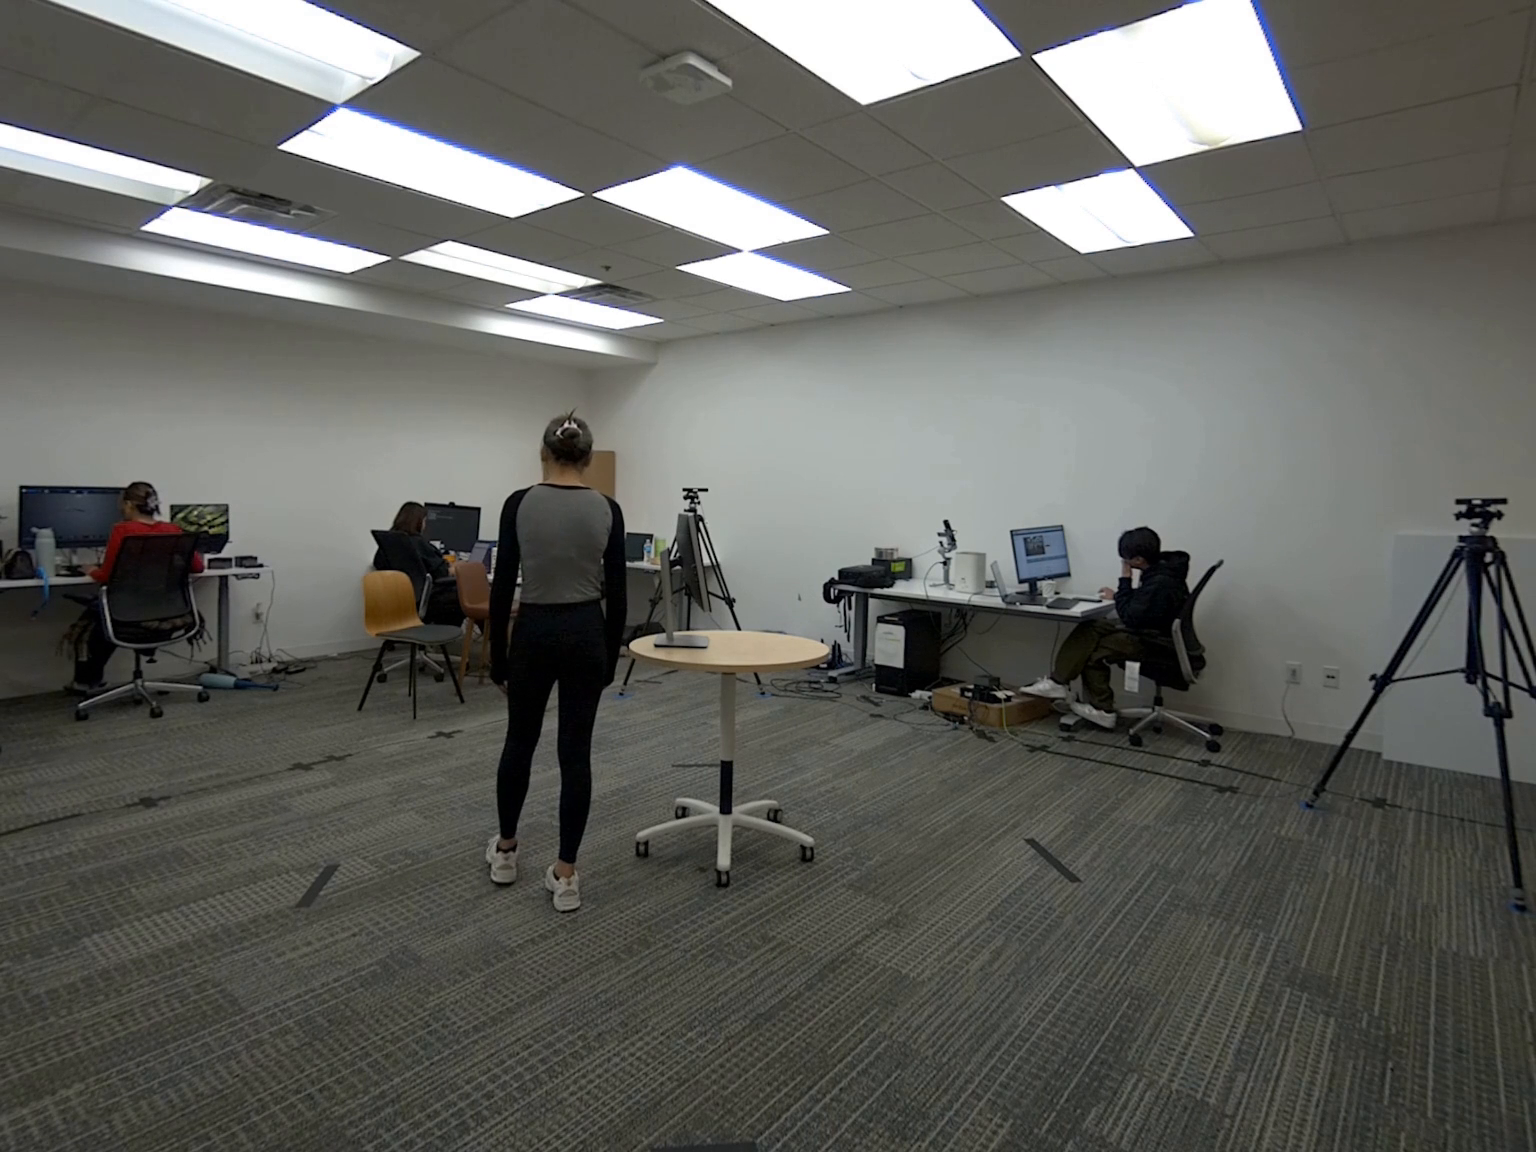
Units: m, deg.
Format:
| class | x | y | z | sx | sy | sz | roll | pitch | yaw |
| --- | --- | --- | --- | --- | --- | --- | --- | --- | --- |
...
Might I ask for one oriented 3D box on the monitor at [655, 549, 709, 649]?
| class | x | y | z | sx | sy | sz | roll | pitch | yaw |
| --- | --- | --- | --- | --- | --- | --- | --- | --- | --- |
| monitor | -0.341 | 0.008 | 3.306 | 0.185 | 0.522 | 0.547 | 3 | 3 | -13 |
